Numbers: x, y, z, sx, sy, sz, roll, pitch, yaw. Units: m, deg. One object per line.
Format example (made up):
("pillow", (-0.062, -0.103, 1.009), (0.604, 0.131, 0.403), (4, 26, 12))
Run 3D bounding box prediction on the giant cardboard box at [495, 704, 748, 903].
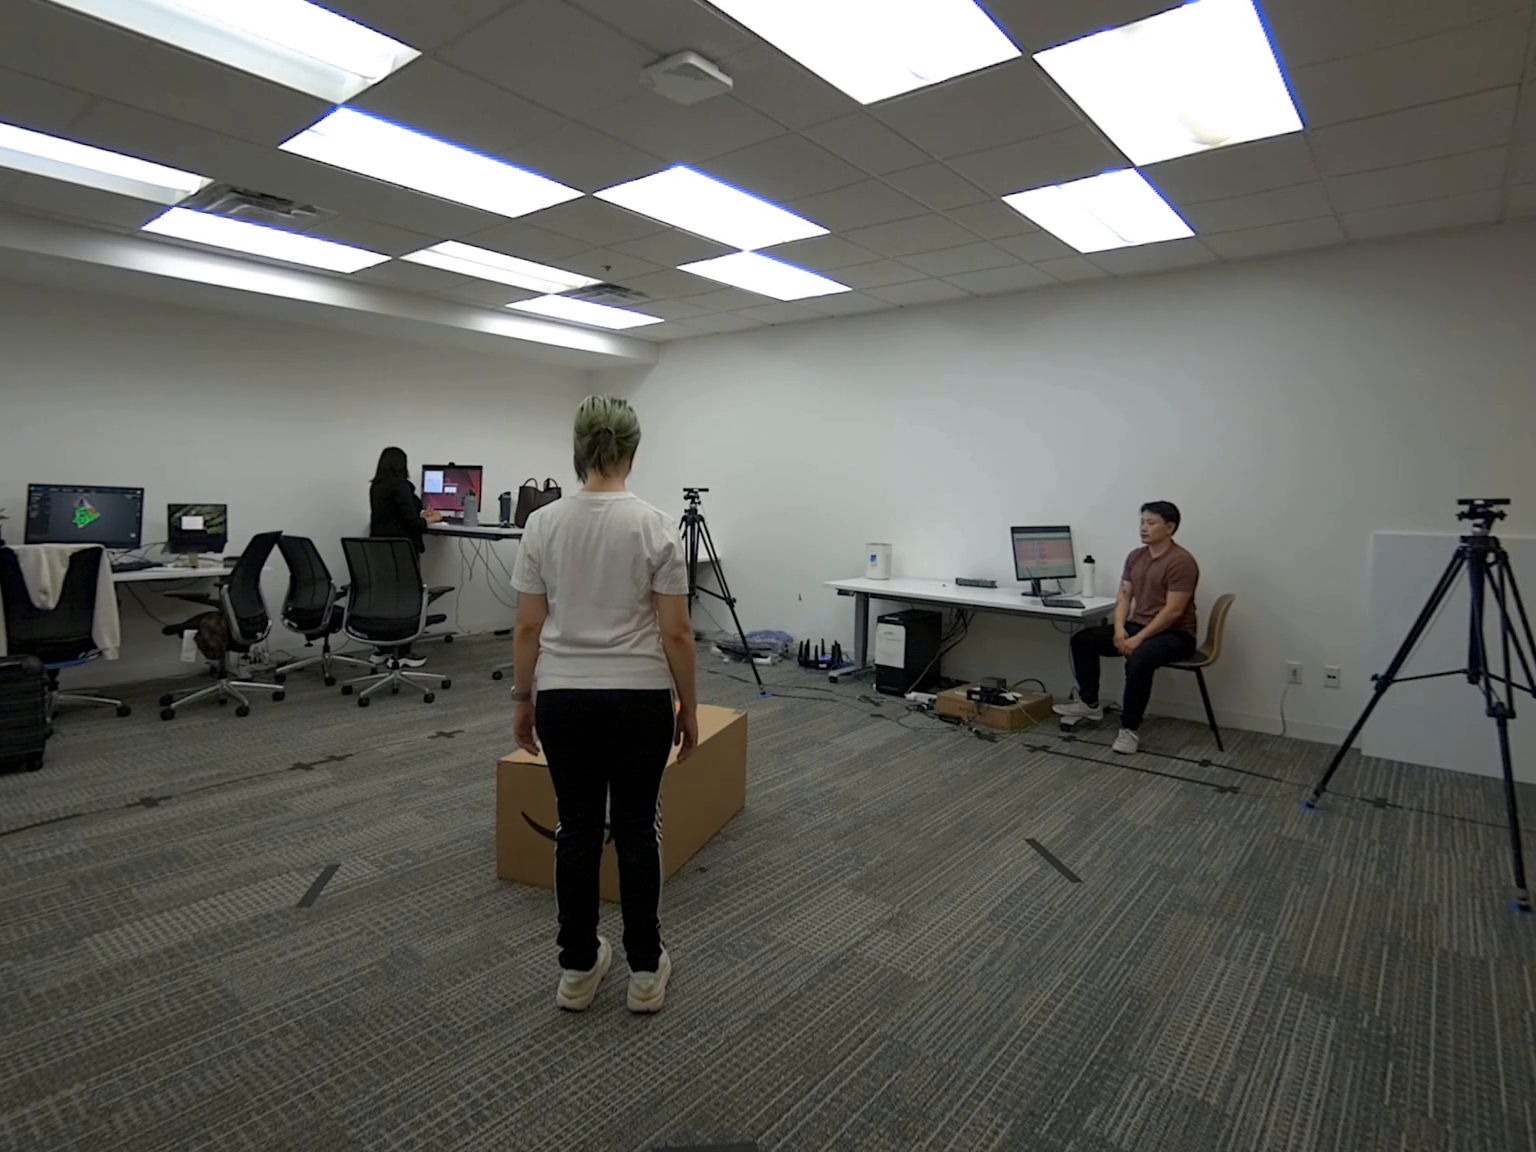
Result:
("giant cardboard box", (-0.535, 0.823, 3.360), (0.590, 0.425, 1.008), (2, 5, 19))
